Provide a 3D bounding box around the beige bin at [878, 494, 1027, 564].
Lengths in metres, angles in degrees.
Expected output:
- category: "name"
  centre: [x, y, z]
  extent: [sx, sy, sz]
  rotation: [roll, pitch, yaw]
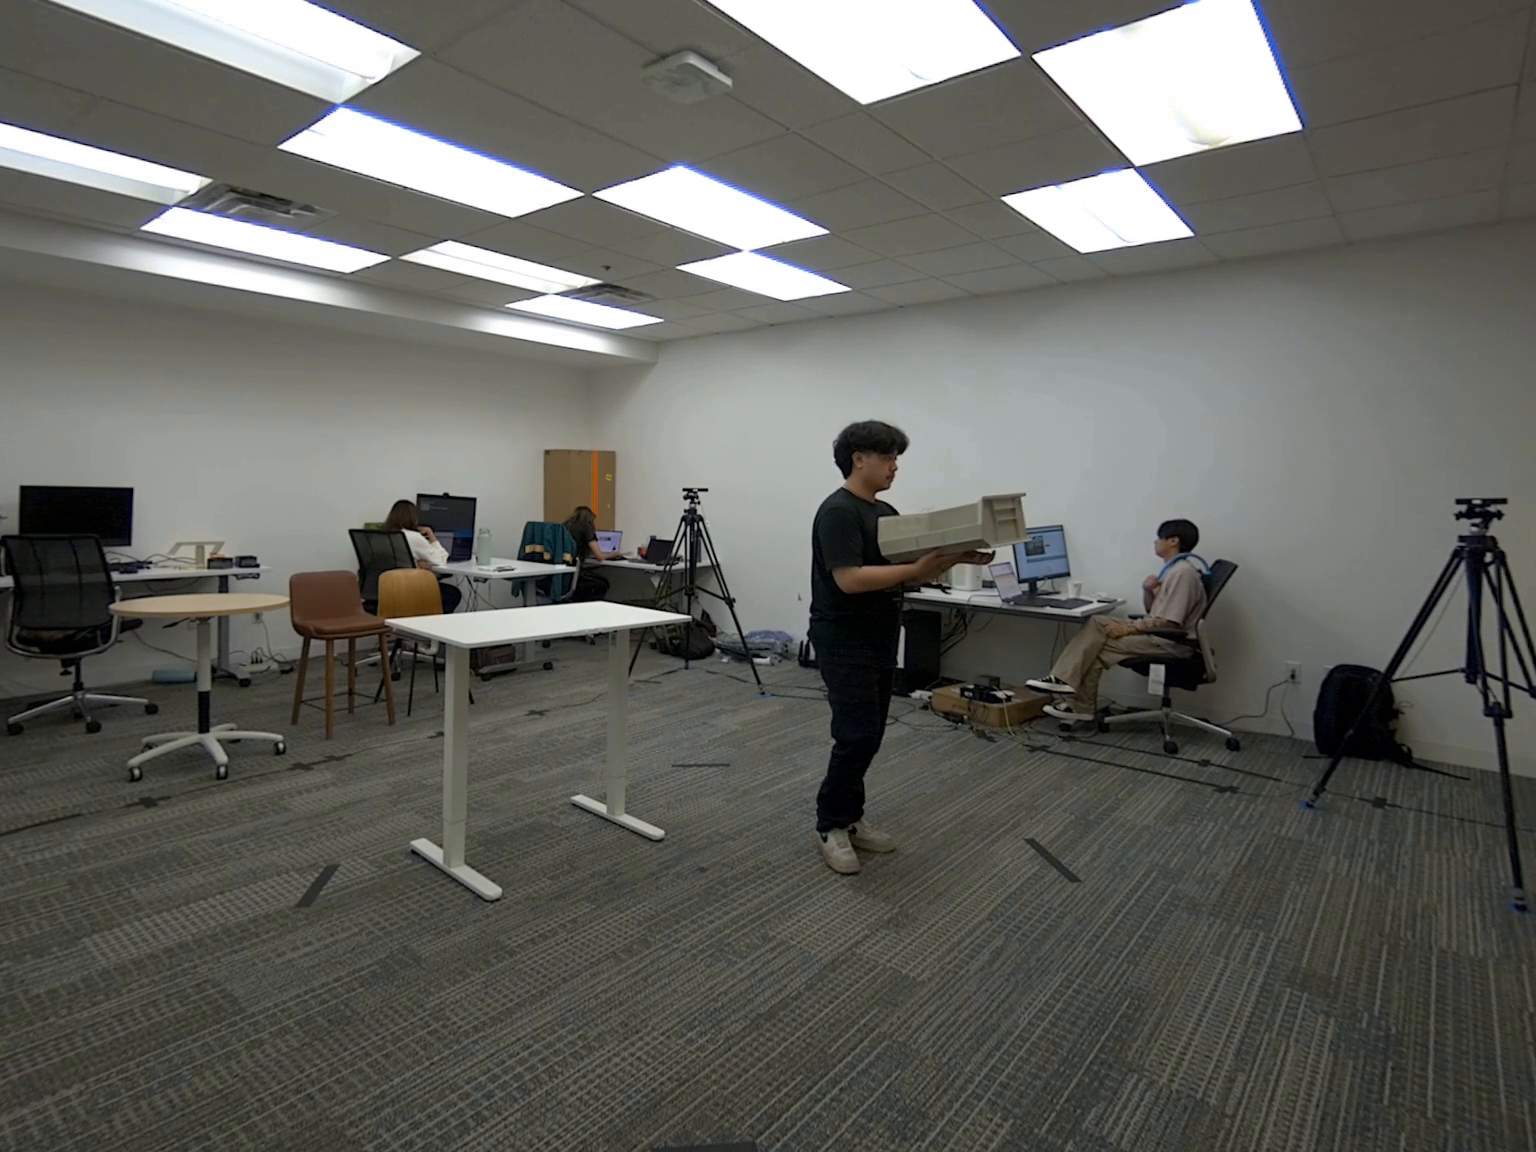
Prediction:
- category: "beige bin"
  centre: [0.673, -0.174, 3.126]
  extent: [0.433, 0.189, 0.367]
  rotation: [-10, -1, 42]
